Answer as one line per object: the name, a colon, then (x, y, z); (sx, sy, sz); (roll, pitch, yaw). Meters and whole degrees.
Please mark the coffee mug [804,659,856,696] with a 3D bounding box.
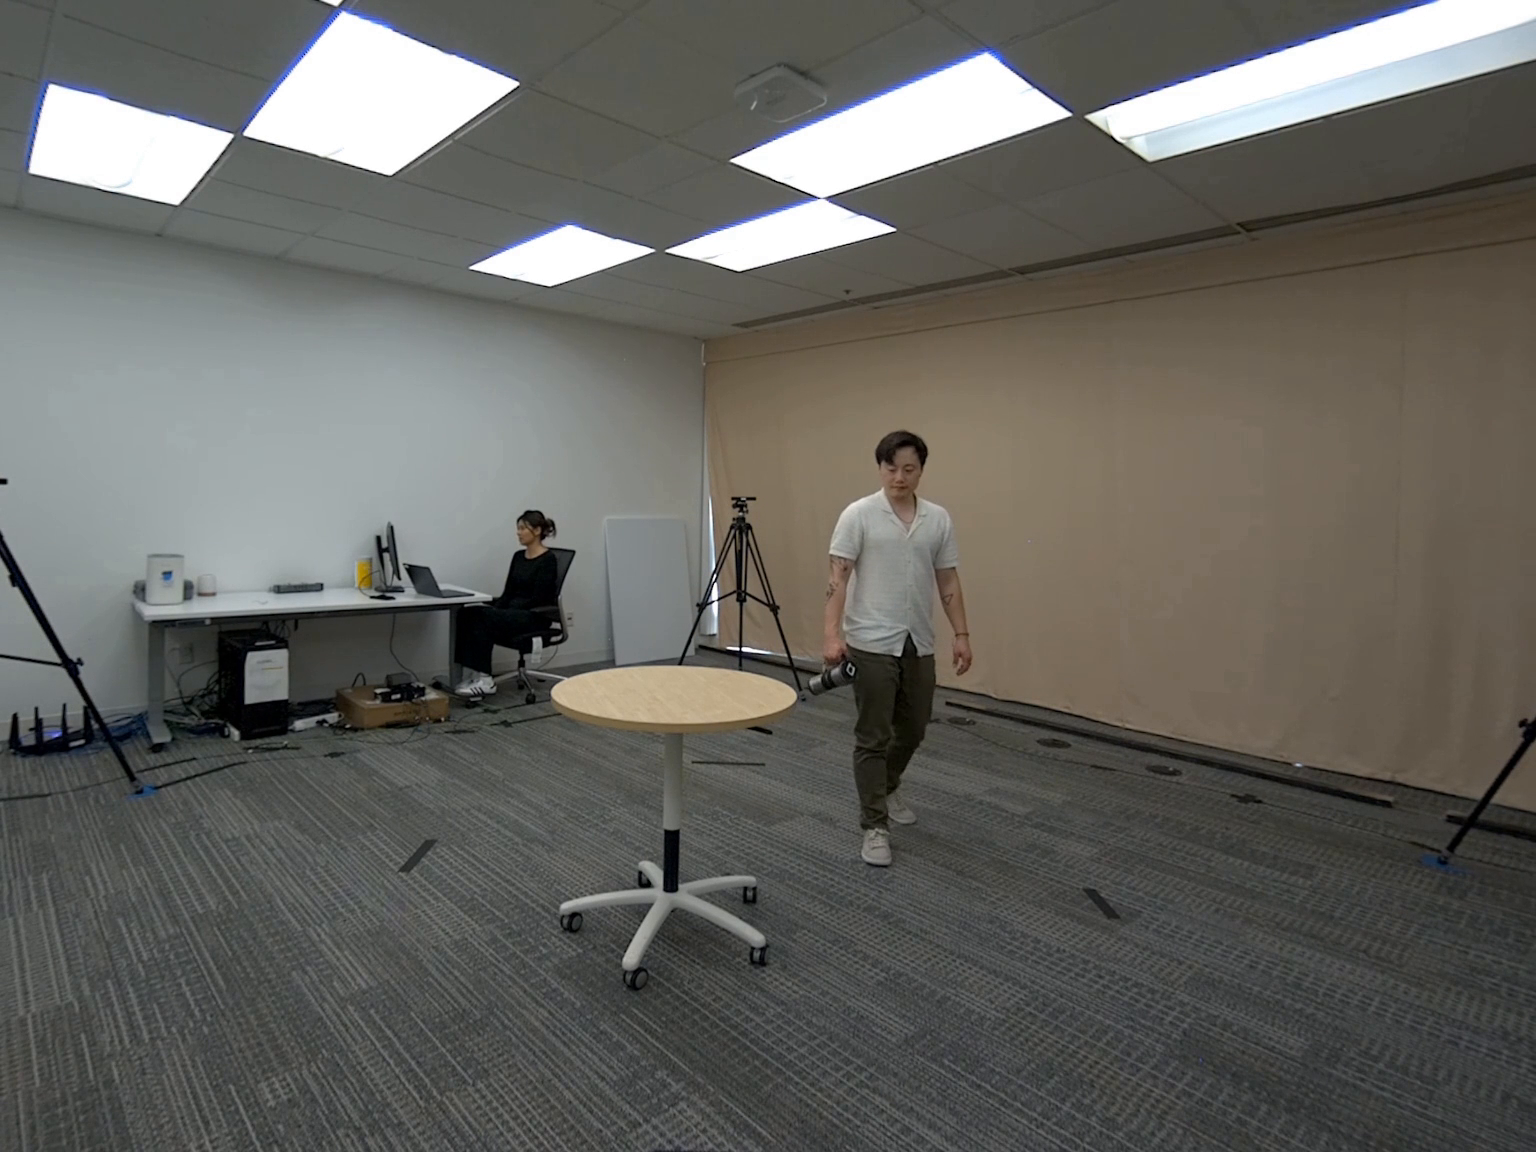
coffee mug: (0.244, 0.382, 3.276); (0.085, 0.124, 0.205); (26, -37, -30)
